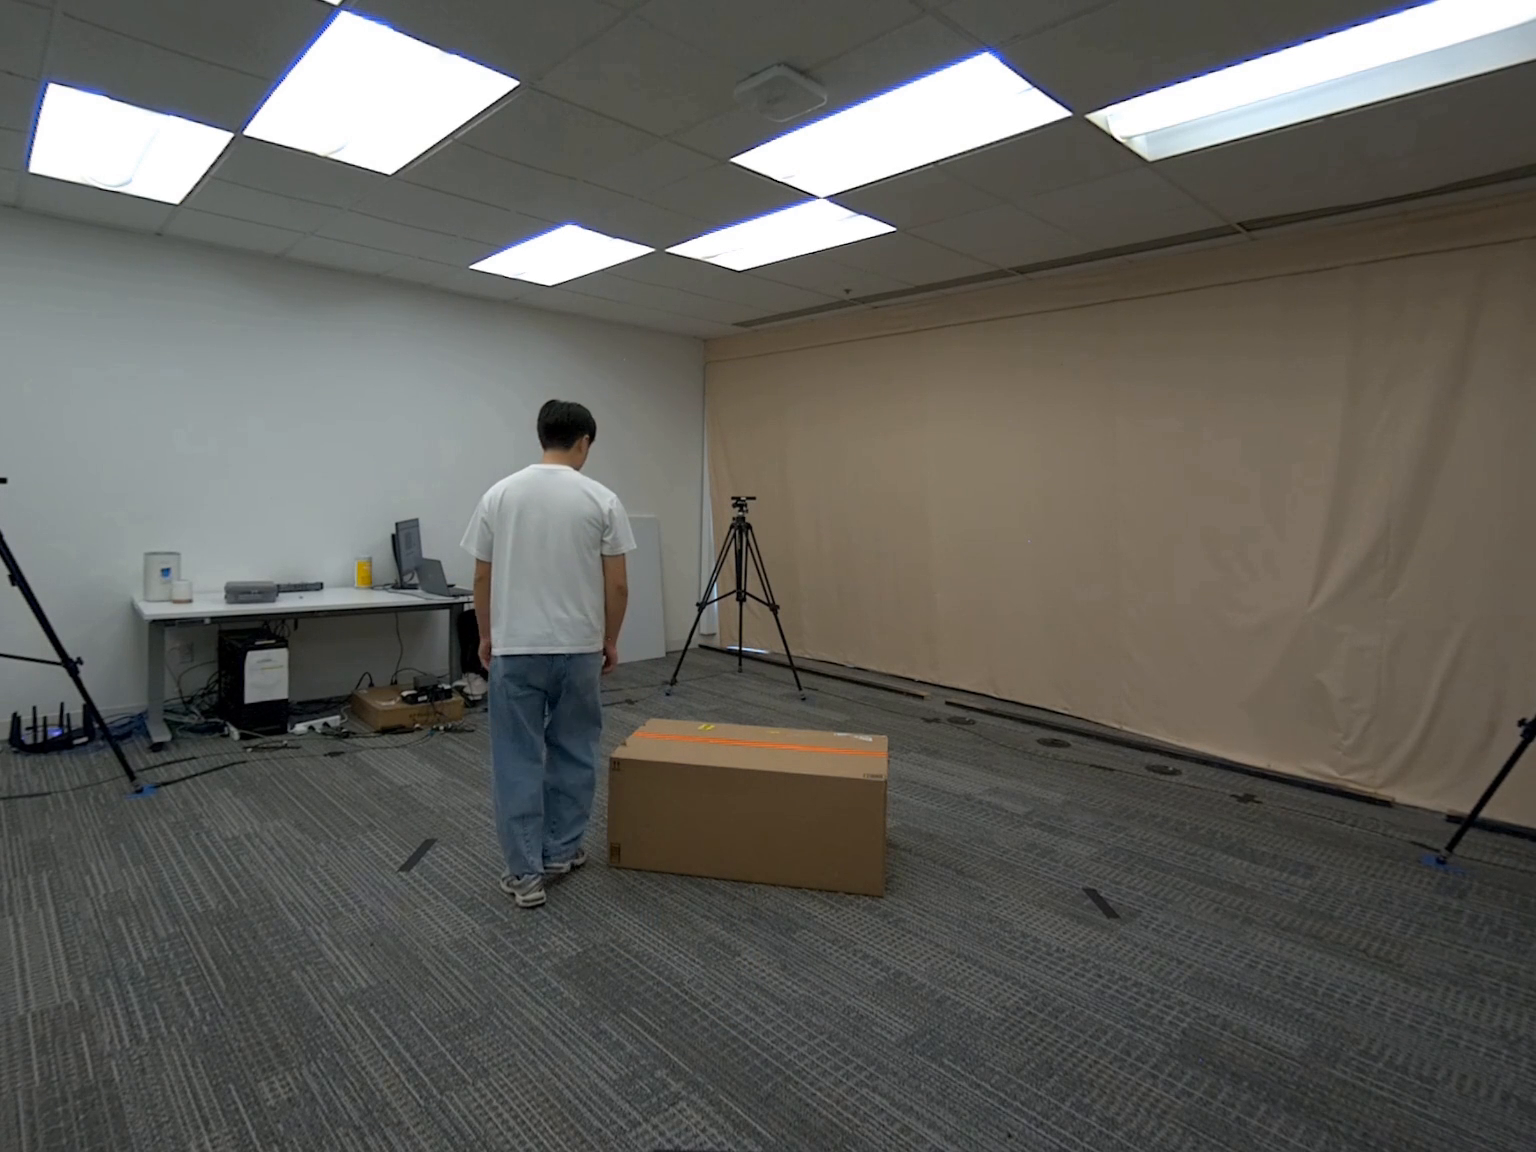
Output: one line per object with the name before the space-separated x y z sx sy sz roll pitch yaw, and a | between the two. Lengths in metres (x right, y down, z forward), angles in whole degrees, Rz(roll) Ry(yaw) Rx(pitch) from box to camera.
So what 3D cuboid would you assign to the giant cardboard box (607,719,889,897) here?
giant cardboard box | -0.053 0.871 3.318 1.035 0.425 0.574 2 4 10
